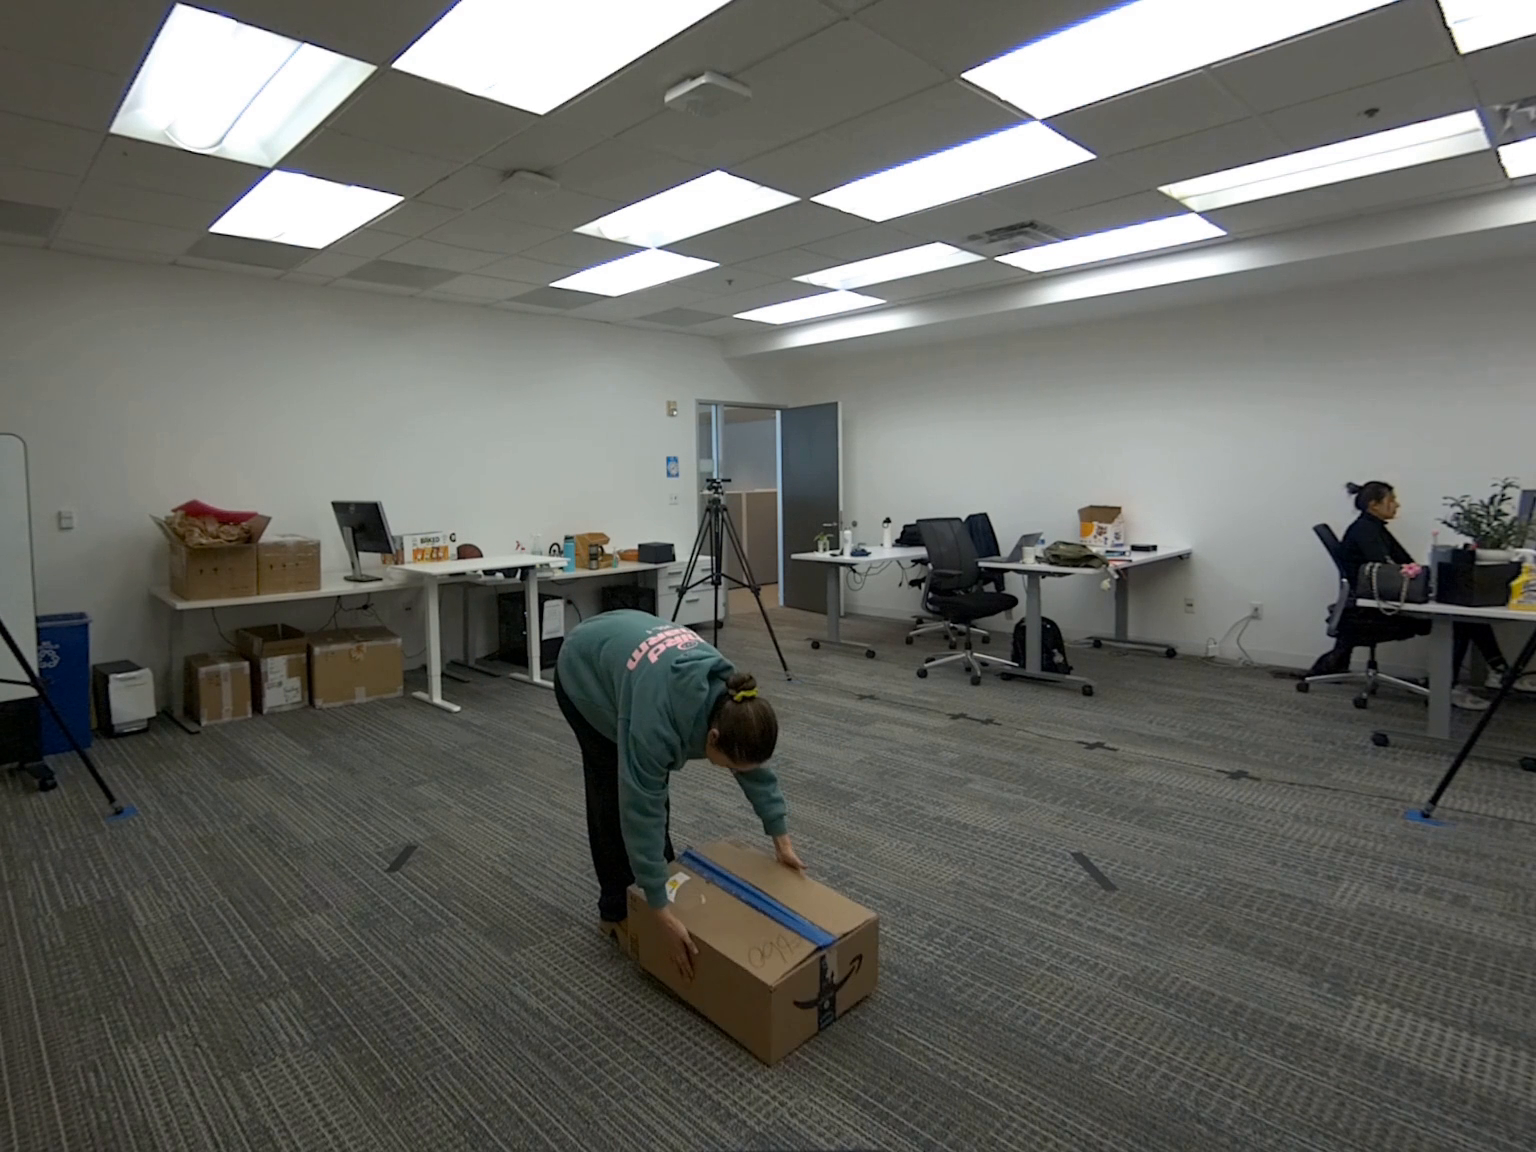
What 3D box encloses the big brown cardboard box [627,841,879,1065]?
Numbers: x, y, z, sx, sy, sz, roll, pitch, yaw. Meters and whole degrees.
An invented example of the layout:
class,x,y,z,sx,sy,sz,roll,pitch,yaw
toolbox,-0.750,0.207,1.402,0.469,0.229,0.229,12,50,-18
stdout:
class,x,y,z,sx,sy,sz,roll,pitch,yaw
big brown cardboard box,-0.055,0.978,2.353,0.407,0.231,0.609,-11,15,-43
